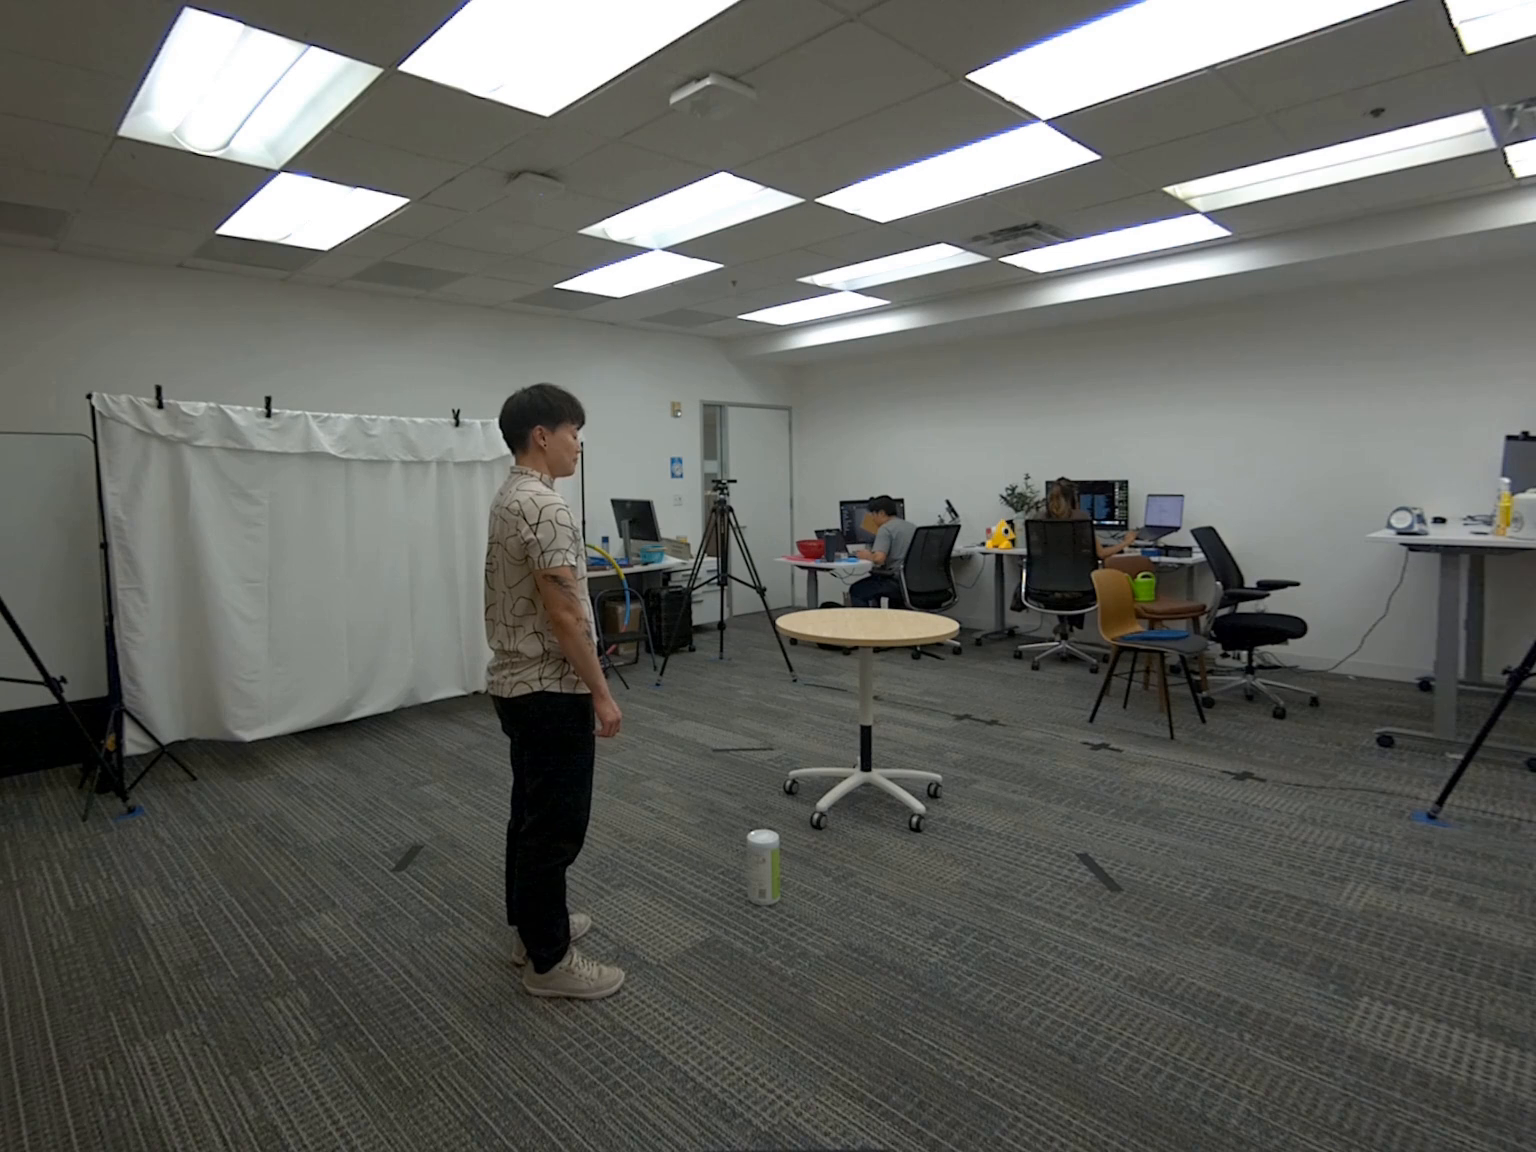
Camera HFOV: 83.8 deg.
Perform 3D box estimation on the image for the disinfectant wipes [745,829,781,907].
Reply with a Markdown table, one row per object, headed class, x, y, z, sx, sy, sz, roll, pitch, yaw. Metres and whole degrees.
| class | x | y | z | sx | sy | sz | roll | pitch | yaw |
| --- | --- | --- | --- | --- | --- | --- | --- | --- | --- |
| disinfectant wipes | -0.011 | 0.971 | 2.836 | 0.118 | 0.217 | 0.118 | -2 | 2 | -2 |
